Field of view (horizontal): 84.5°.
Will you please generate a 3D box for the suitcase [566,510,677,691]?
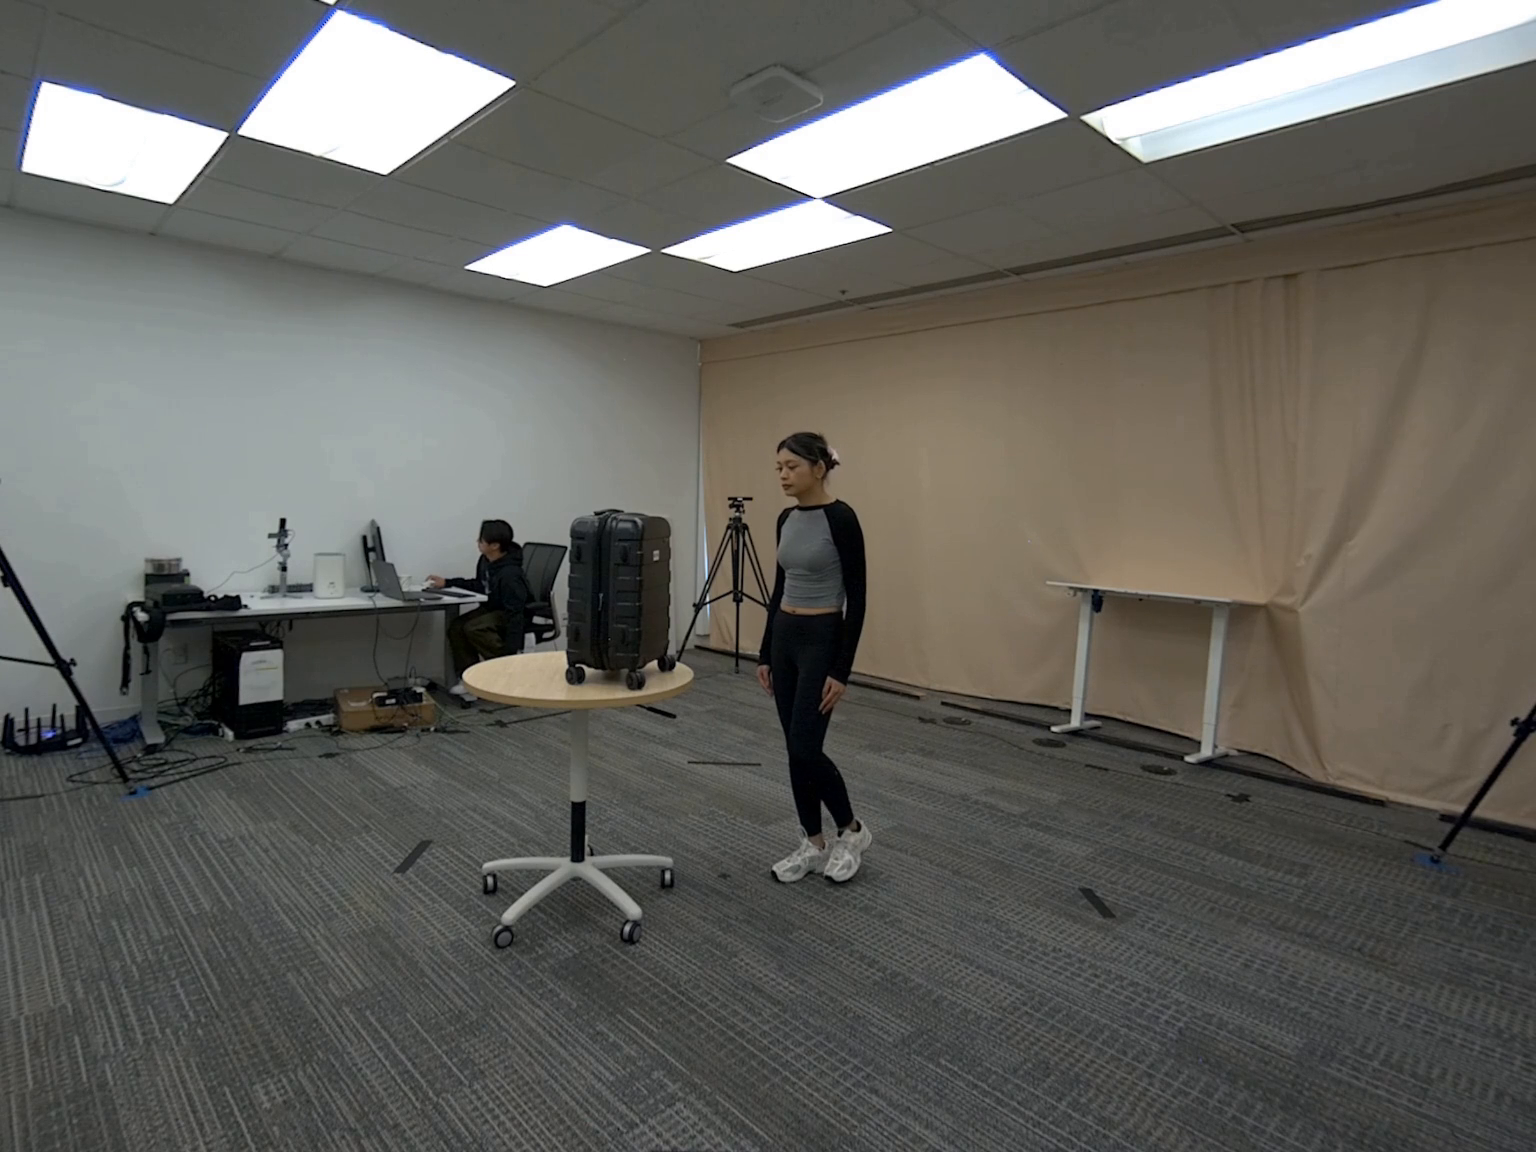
[{"bbox_3d":[-0.486,0.057,2.797,0.251,0.548,0.372,2,3,12],"label":"suitcase"}]
